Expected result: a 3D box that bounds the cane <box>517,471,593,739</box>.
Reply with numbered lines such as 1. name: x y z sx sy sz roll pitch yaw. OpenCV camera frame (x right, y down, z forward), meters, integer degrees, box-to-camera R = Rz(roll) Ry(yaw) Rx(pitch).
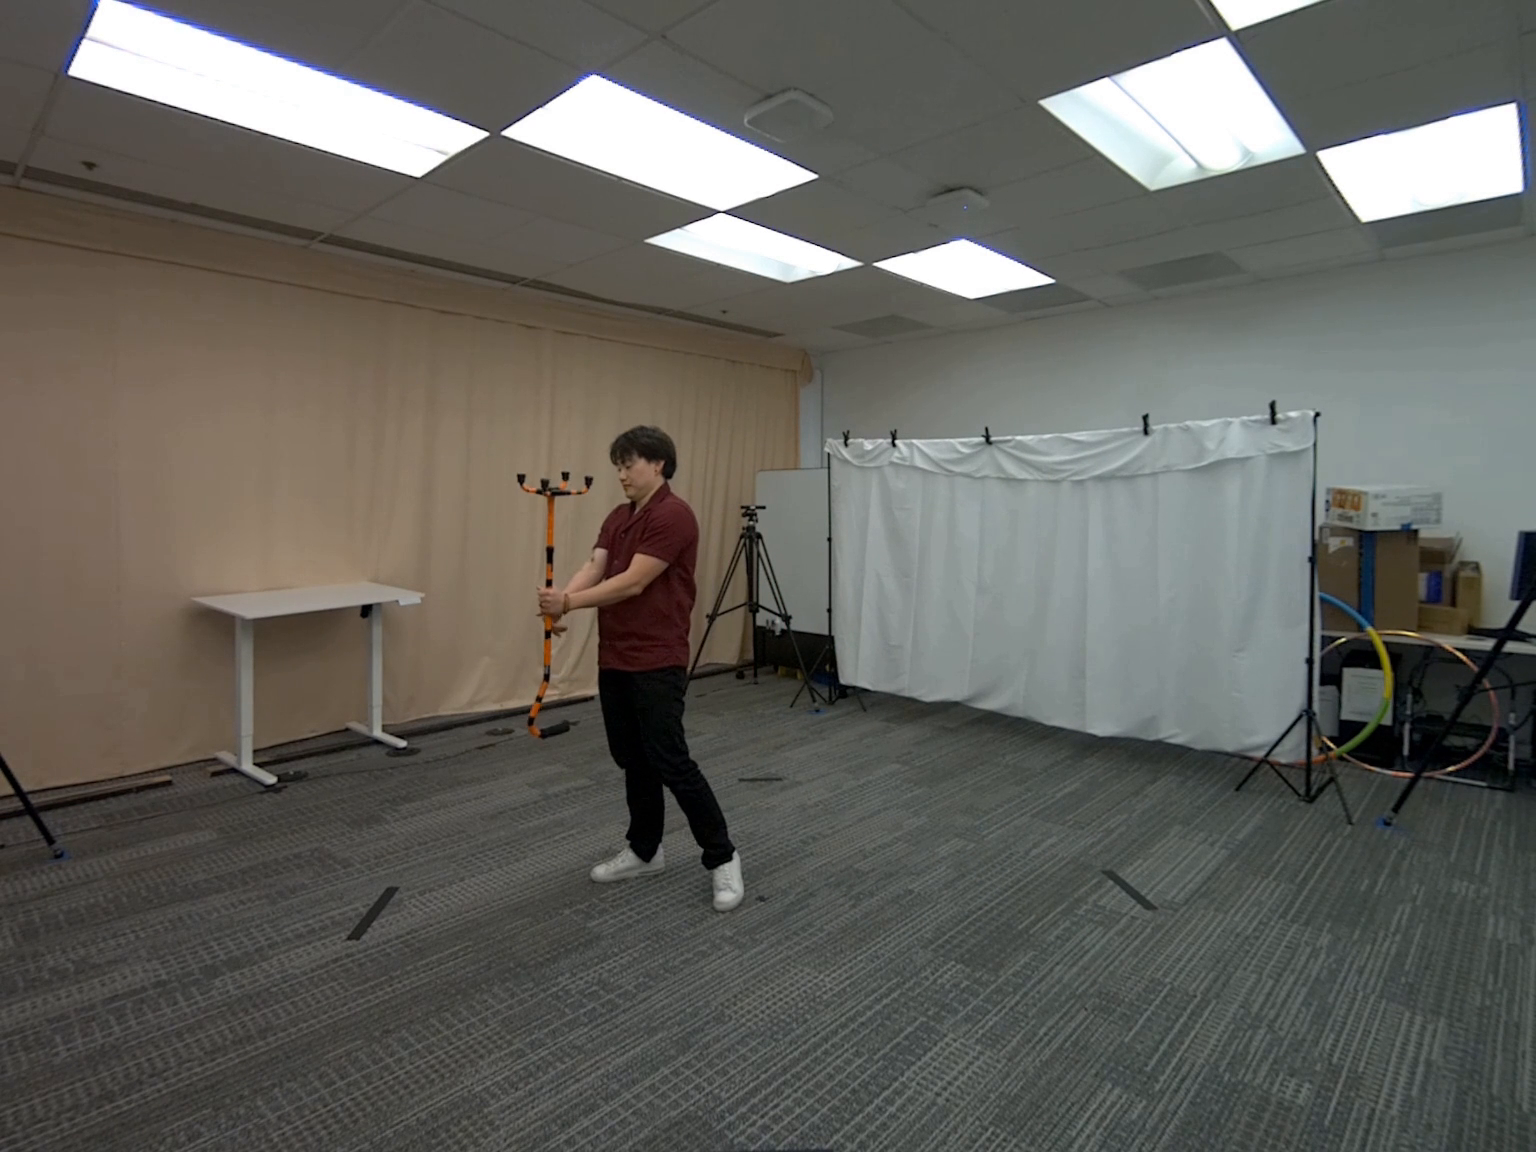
1. cane: -0.718 0.118 2.797 0.157 0.902 0.200 14 15 41
